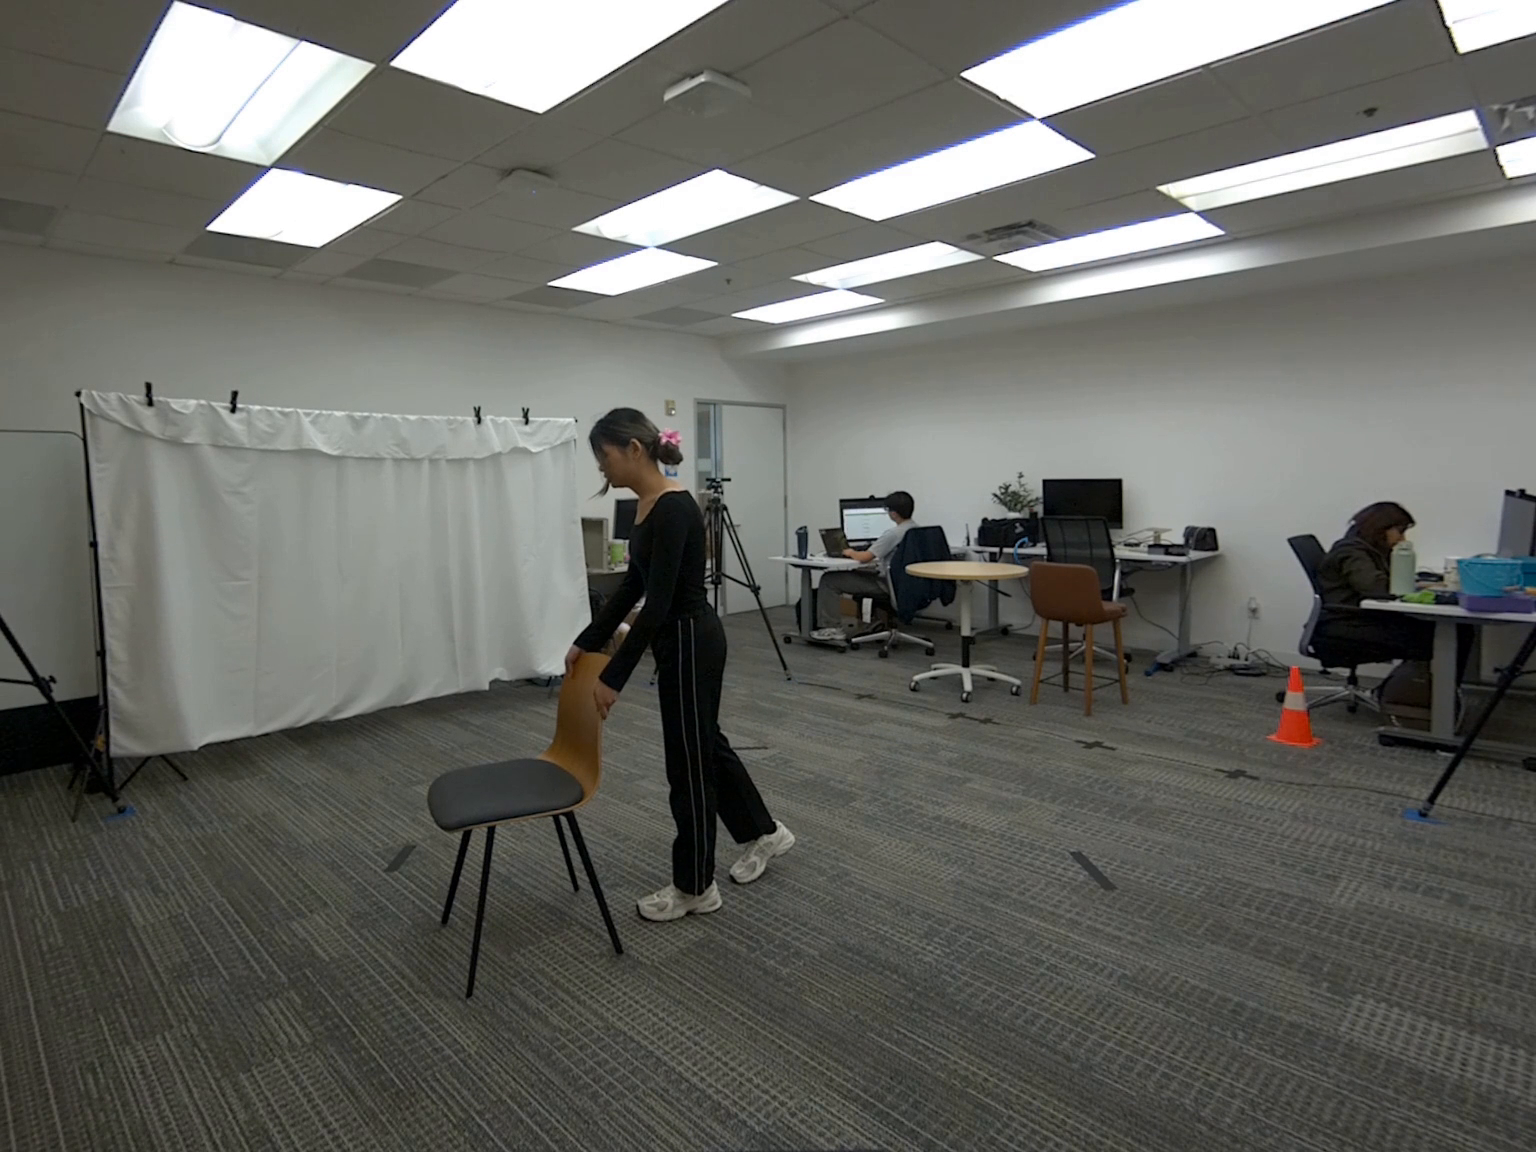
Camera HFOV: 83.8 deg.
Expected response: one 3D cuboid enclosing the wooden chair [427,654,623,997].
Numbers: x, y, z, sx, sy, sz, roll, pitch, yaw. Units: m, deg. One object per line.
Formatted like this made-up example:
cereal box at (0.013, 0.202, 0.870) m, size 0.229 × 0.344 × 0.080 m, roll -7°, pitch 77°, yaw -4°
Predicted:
wooden chair at (-0.746, 0.689, 2.583) m, size 0.510 × 0.875 × 0.491 m, roll 1°, pitch 3°, yaw -28°
